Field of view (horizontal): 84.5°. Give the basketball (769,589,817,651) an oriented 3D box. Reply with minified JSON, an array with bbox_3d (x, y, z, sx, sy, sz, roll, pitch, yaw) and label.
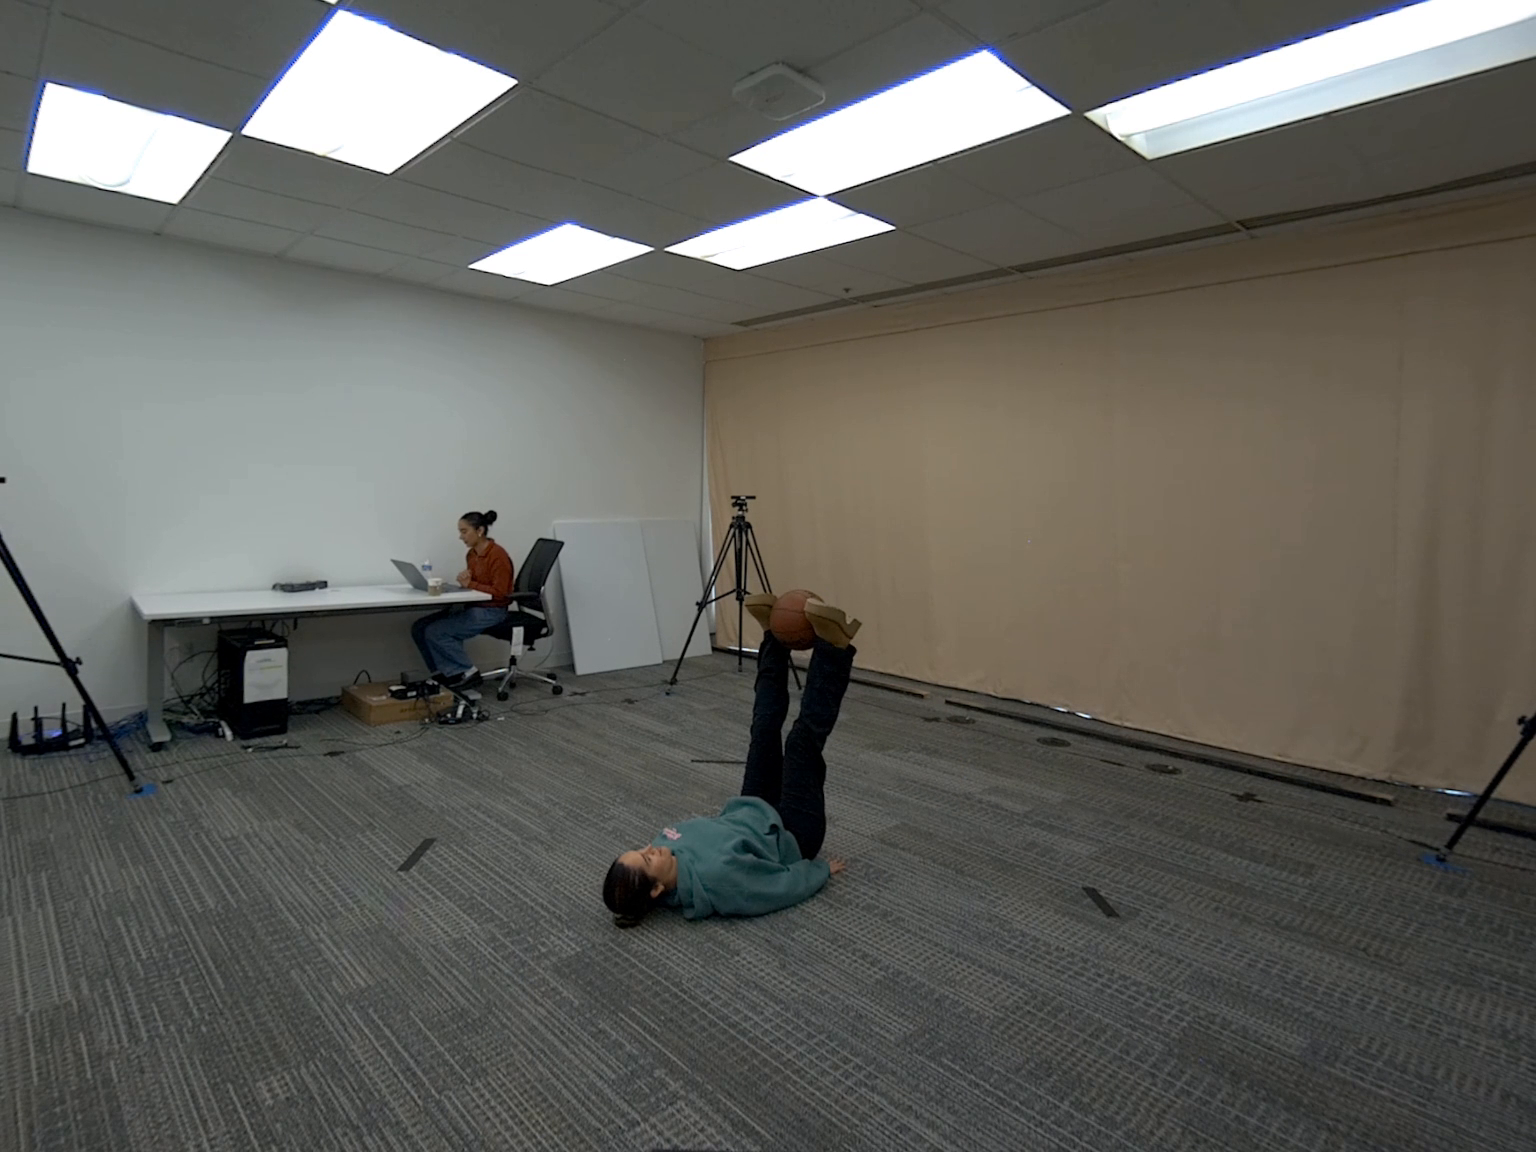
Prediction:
[{"bbox_3d":[0.126,0.169,3.271,0.236,0.235,0.237,1,5,-1],"label":"basketball"}]
